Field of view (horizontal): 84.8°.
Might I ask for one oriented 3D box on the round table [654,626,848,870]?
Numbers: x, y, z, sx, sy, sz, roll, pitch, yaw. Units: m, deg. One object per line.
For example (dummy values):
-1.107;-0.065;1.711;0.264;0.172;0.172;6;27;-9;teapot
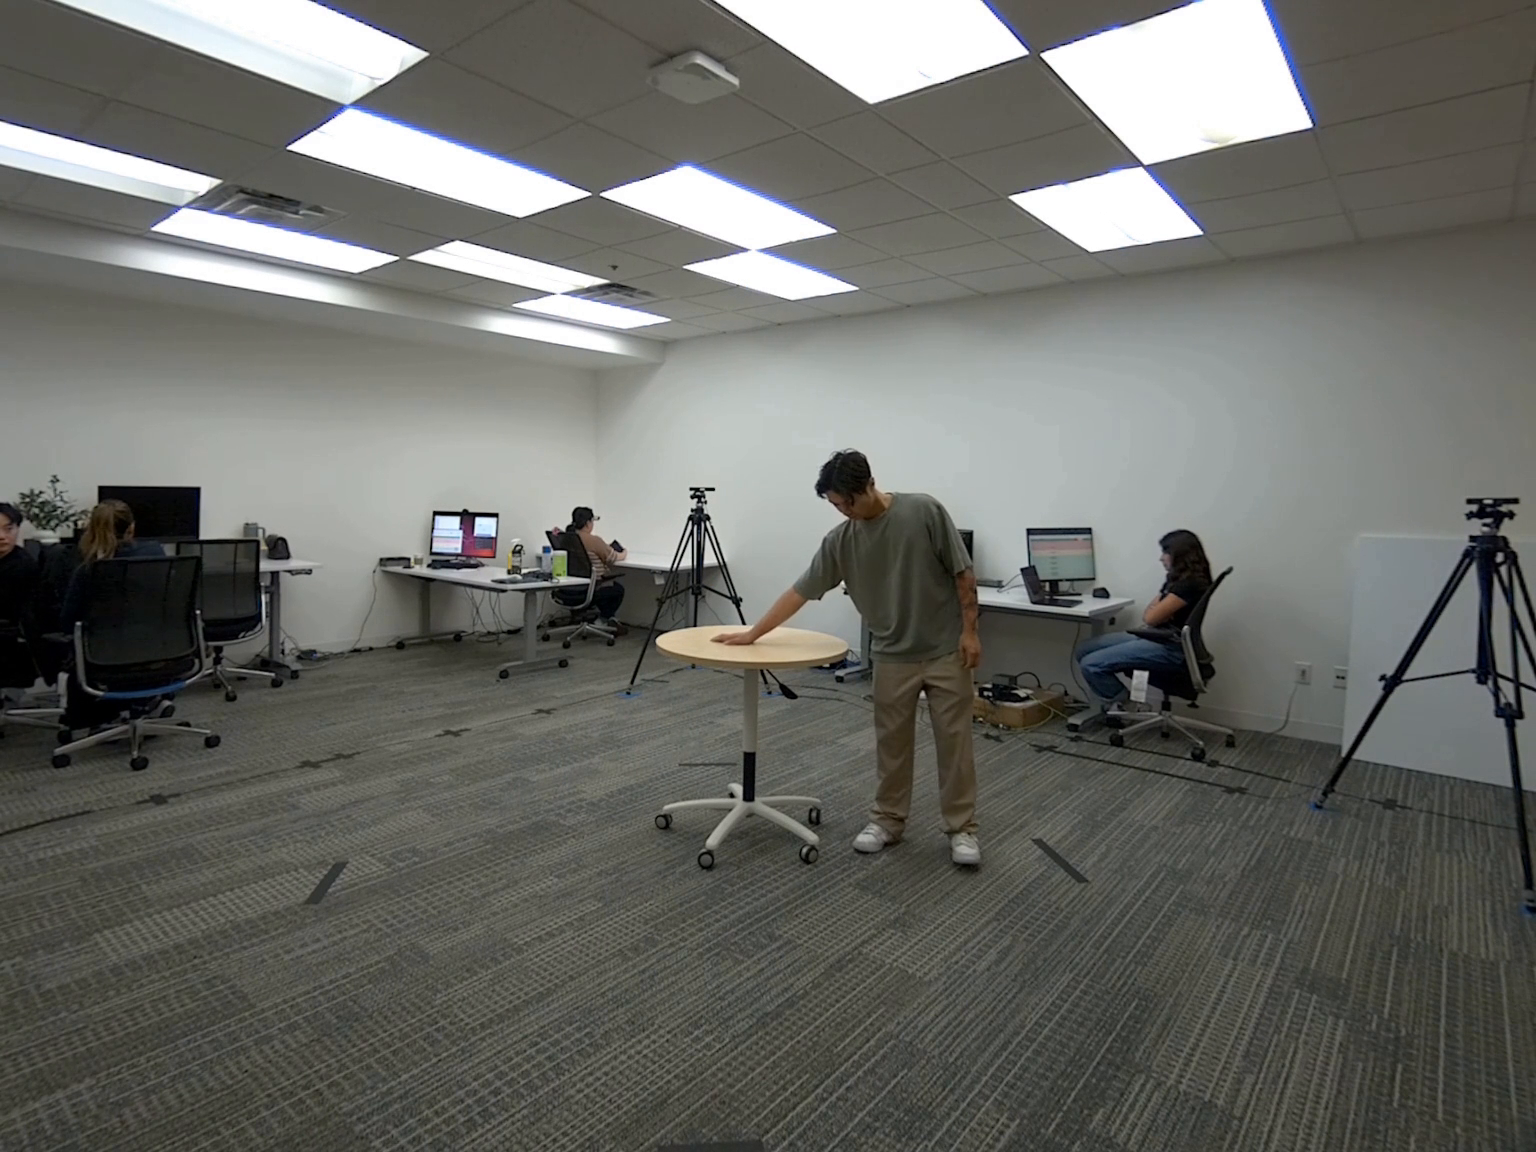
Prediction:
-0.085;0.653;3.414;0.763;0.791;0.768;1;4;-2;round table
